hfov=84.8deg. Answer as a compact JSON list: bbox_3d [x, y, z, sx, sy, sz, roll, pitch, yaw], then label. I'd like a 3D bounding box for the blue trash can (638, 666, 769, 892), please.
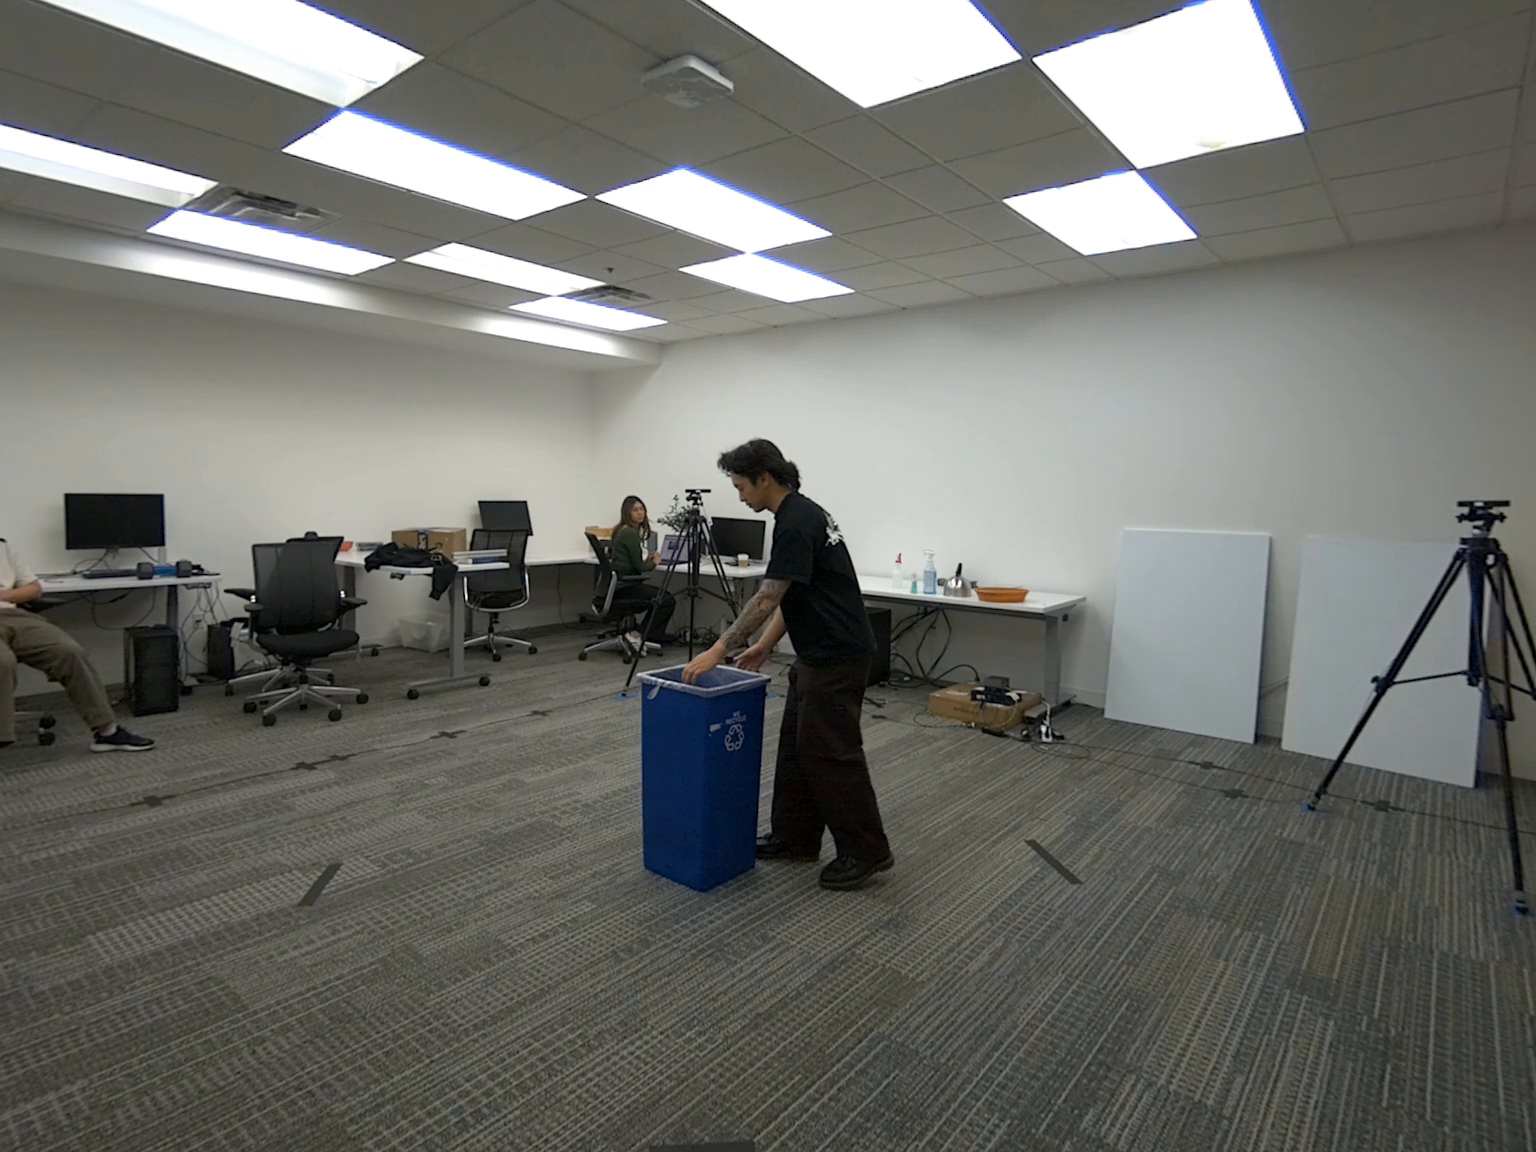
[{"bbox_3d":[-0.253,0.714,3.130,0.391,0.712,0.363,4,4,39],"label":"blue trash can"}]
